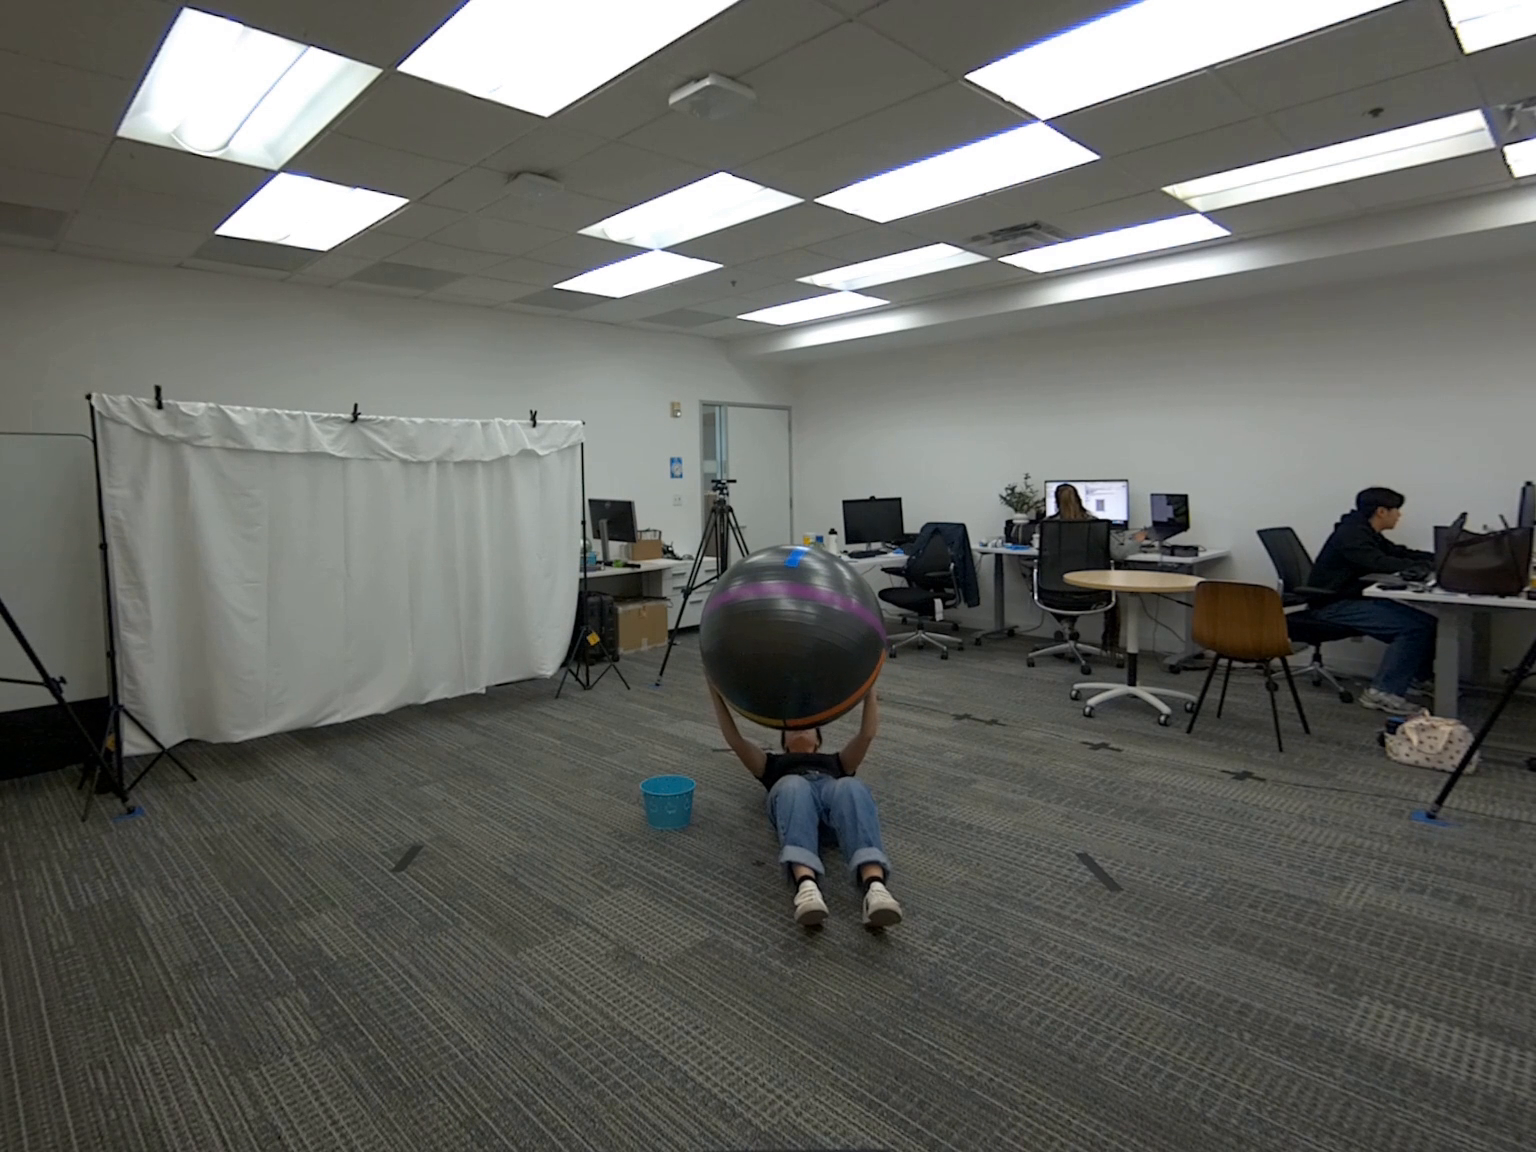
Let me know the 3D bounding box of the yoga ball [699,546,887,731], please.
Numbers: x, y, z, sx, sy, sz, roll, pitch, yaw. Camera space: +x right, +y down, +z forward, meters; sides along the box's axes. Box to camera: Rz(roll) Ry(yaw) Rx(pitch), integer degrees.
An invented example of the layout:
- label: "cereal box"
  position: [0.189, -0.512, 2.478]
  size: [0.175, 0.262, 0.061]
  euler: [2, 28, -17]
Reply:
- label: "yoga ball"
  position: [0.102, 0.257, 3.516]
  size: [0.757, 0.755, 0.762]
  euler: [-1, 5, -2]
